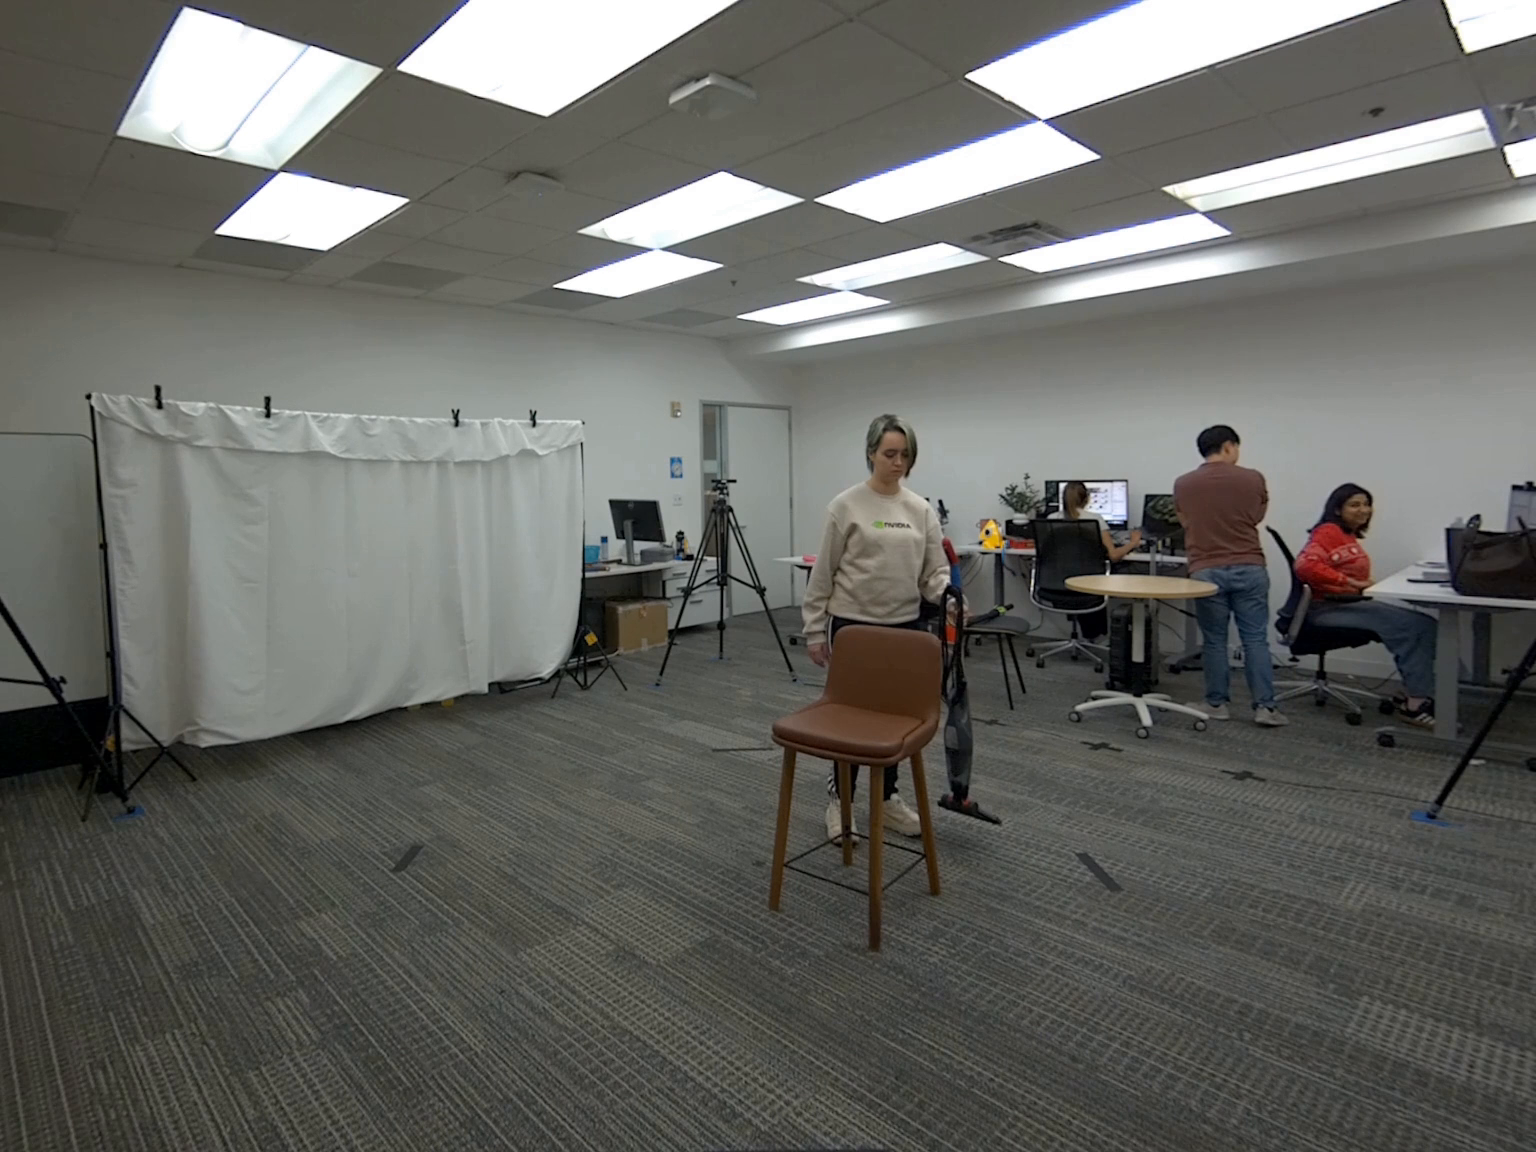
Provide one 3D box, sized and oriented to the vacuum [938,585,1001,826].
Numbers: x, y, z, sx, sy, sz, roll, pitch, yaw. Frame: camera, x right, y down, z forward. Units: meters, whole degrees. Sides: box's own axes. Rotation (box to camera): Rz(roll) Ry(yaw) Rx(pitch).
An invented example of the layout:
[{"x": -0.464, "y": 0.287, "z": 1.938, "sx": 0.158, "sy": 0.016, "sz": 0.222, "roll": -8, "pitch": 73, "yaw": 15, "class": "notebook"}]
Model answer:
[{"x": 0.704, "y": 0.398, "z": 3.163, "sx": 0.261, "sy": 1.038, "sz": 0.141, "roll": 6, "pitch": 15, "yaw": 44, "class": "vacuum"}]
